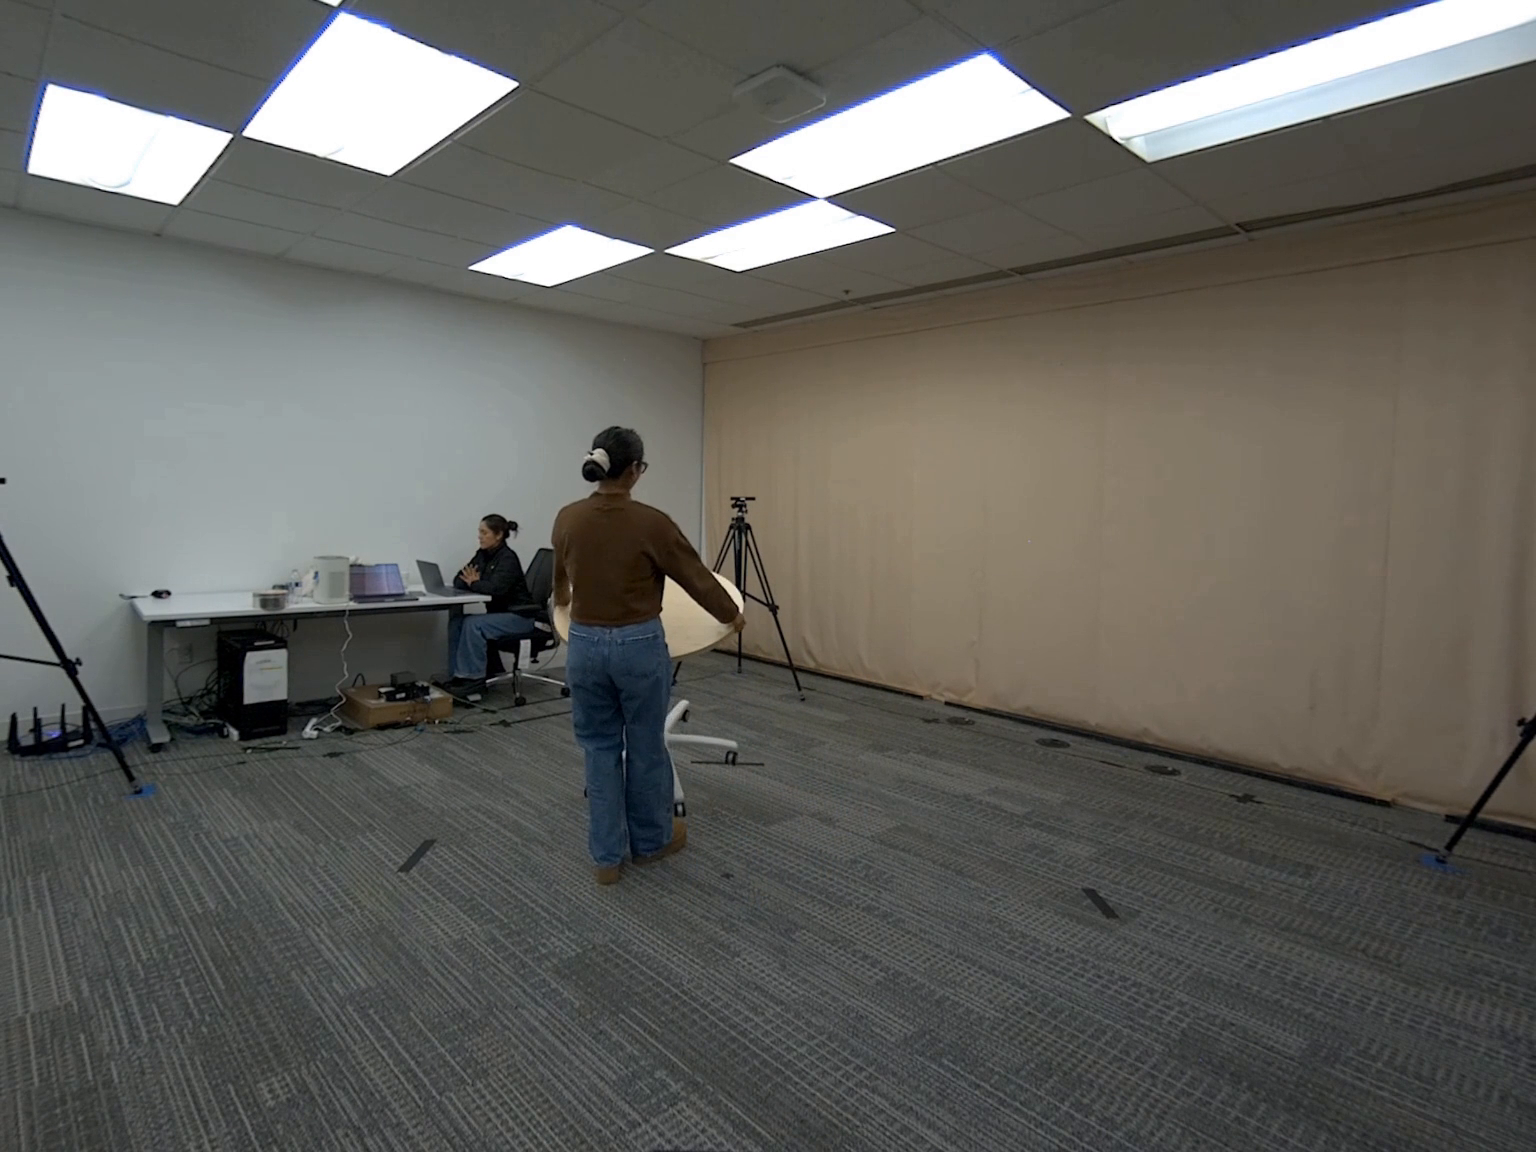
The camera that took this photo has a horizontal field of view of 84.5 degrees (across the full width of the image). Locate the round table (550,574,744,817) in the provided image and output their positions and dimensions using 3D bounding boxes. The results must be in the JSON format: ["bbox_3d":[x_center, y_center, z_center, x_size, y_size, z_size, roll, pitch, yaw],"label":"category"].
[{"bbox_3d":[-0.495,0.473,3.603,0.785,0.773,0.799,0,27,-1],"label":"round table"}]
